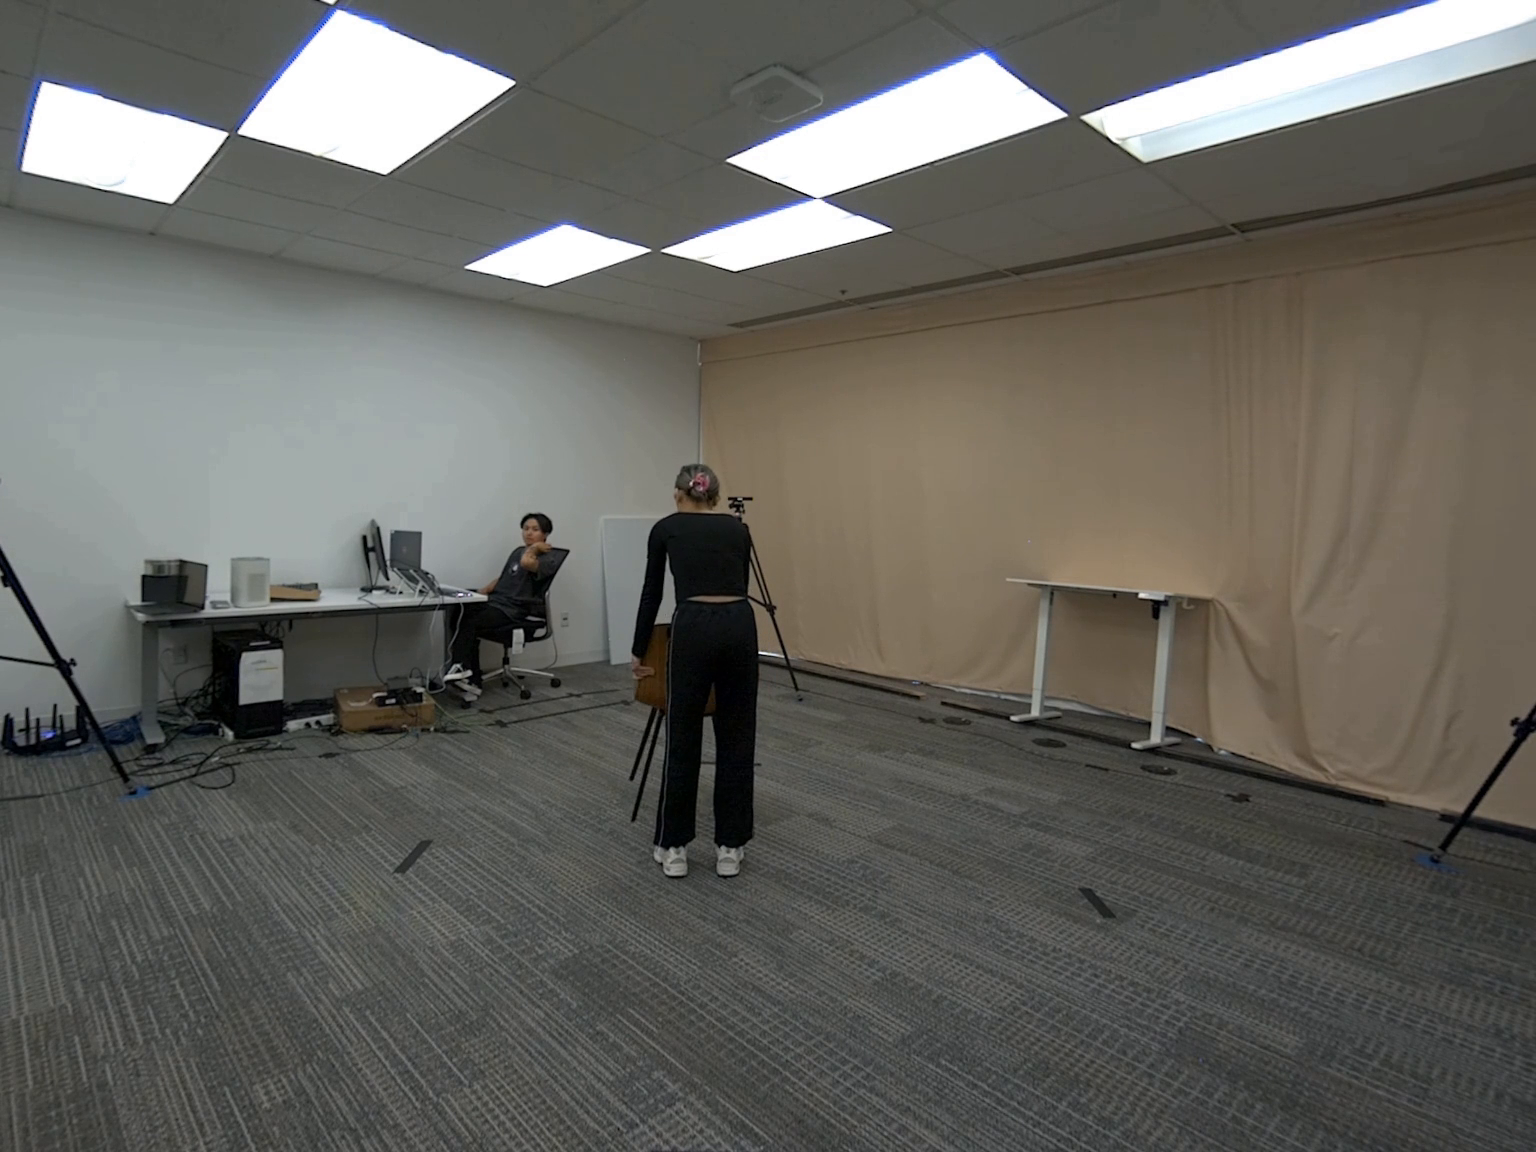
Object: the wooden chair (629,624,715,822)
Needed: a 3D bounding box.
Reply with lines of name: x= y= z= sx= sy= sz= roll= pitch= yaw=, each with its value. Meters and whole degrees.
wooden chair: x=-0.364 y=0.562 z=3.640 sx=0.474 sy=0.871 sz=0.531 roll=2 pitch=10 yaw=-10
